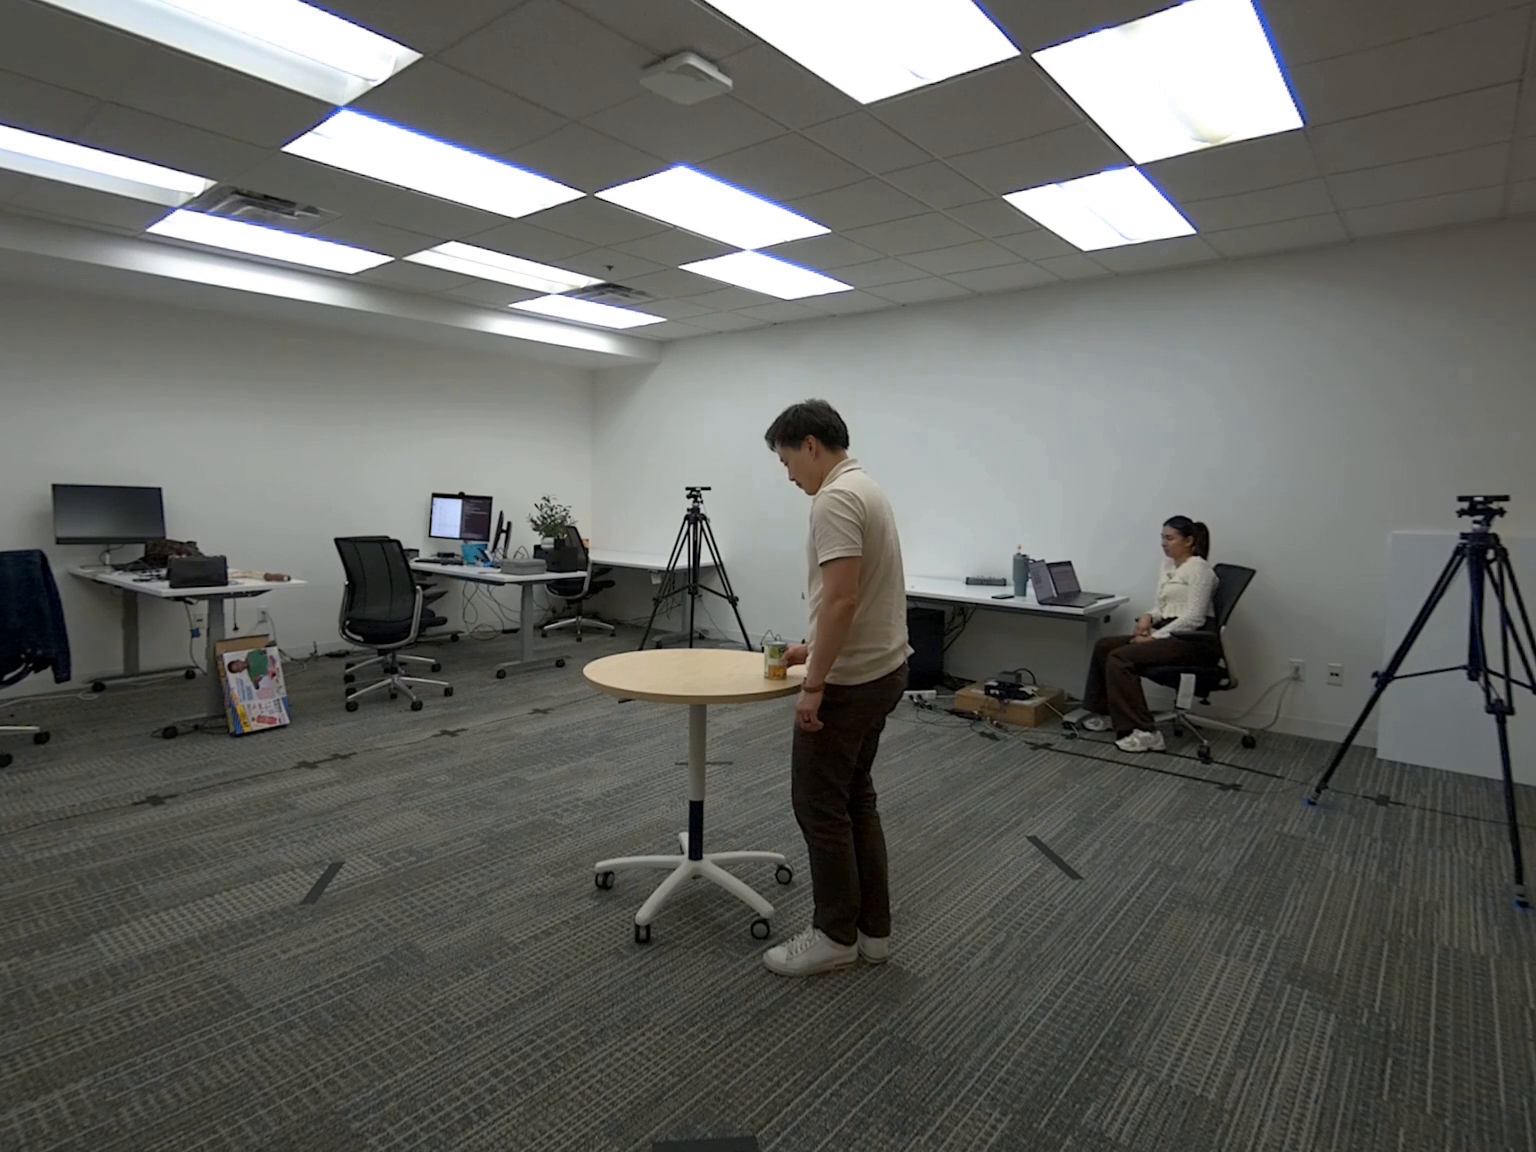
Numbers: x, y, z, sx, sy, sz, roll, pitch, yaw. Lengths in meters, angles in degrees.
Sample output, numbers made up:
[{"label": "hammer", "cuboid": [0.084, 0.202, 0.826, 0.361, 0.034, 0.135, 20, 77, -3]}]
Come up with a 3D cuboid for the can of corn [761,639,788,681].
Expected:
[{"label": "can of corn", "cuboid": [0.015, 0.269, 2.726, 0.074, 0.110, 0.075, 3, 6, -2]}]
